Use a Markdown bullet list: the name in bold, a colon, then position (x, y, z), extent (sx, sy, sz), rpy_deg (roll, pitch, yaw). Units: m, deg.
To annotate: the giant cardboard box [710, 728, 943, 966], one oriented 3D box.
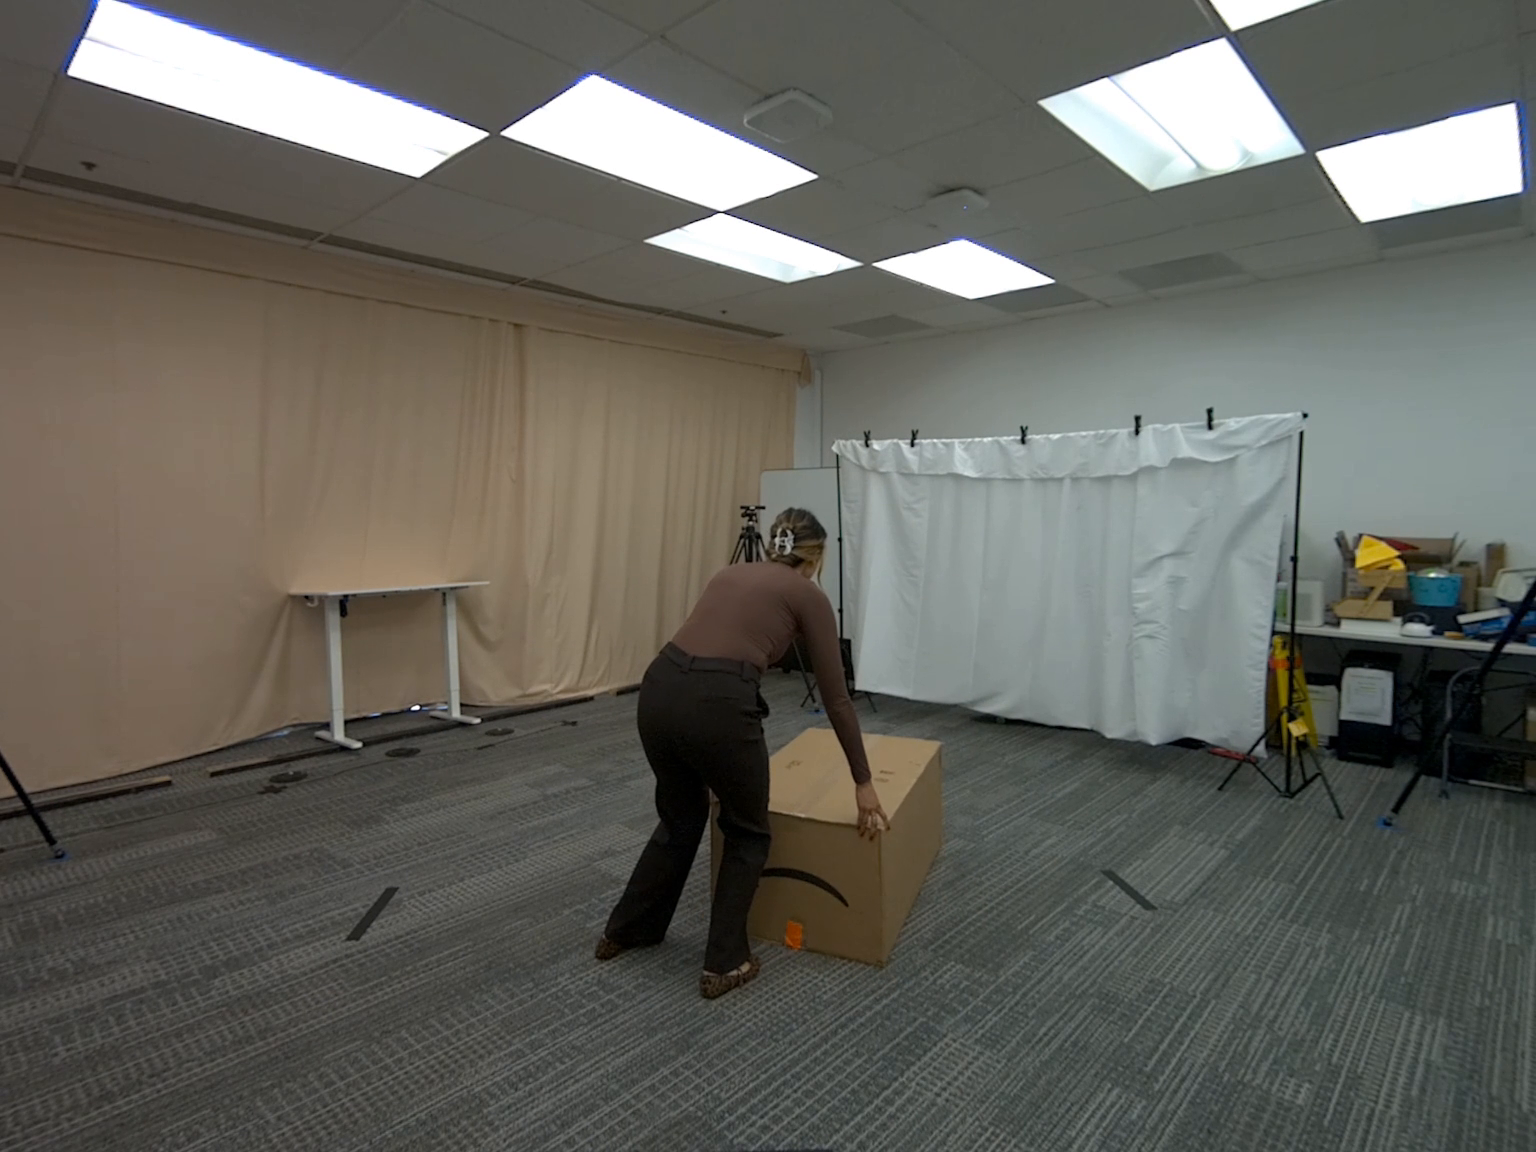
- **giant cardboard box**: position (0.268, 0.922, 3.113), extent (0.598, 0.446, 1.005), rpy_deg (0, 4, 22)
